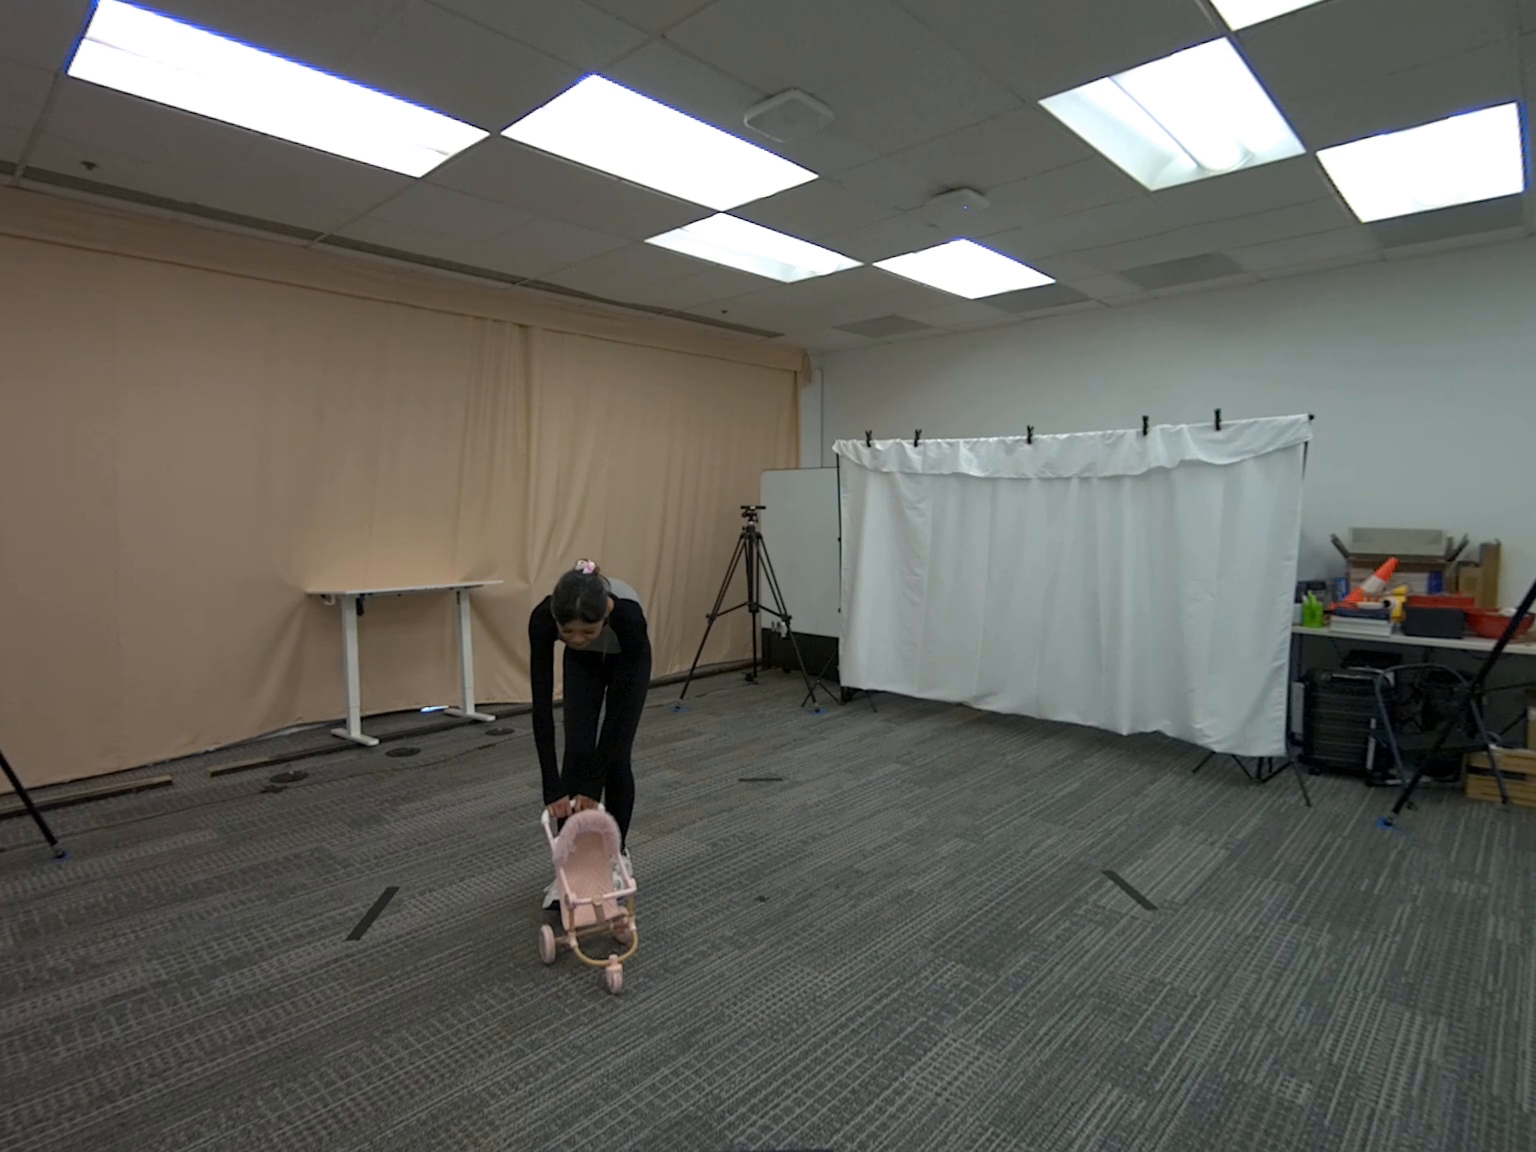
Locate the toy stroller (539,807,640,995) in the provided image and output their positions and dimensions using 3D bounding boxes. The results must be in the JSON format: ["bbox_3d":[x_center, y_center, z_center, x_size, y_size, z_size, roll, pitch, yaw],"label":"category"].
[{"bbox_3d":[-0.539,0.959,2.571,0.275,0.540,0.346,-2,-13,-26],"label":"toy stroller"}]
